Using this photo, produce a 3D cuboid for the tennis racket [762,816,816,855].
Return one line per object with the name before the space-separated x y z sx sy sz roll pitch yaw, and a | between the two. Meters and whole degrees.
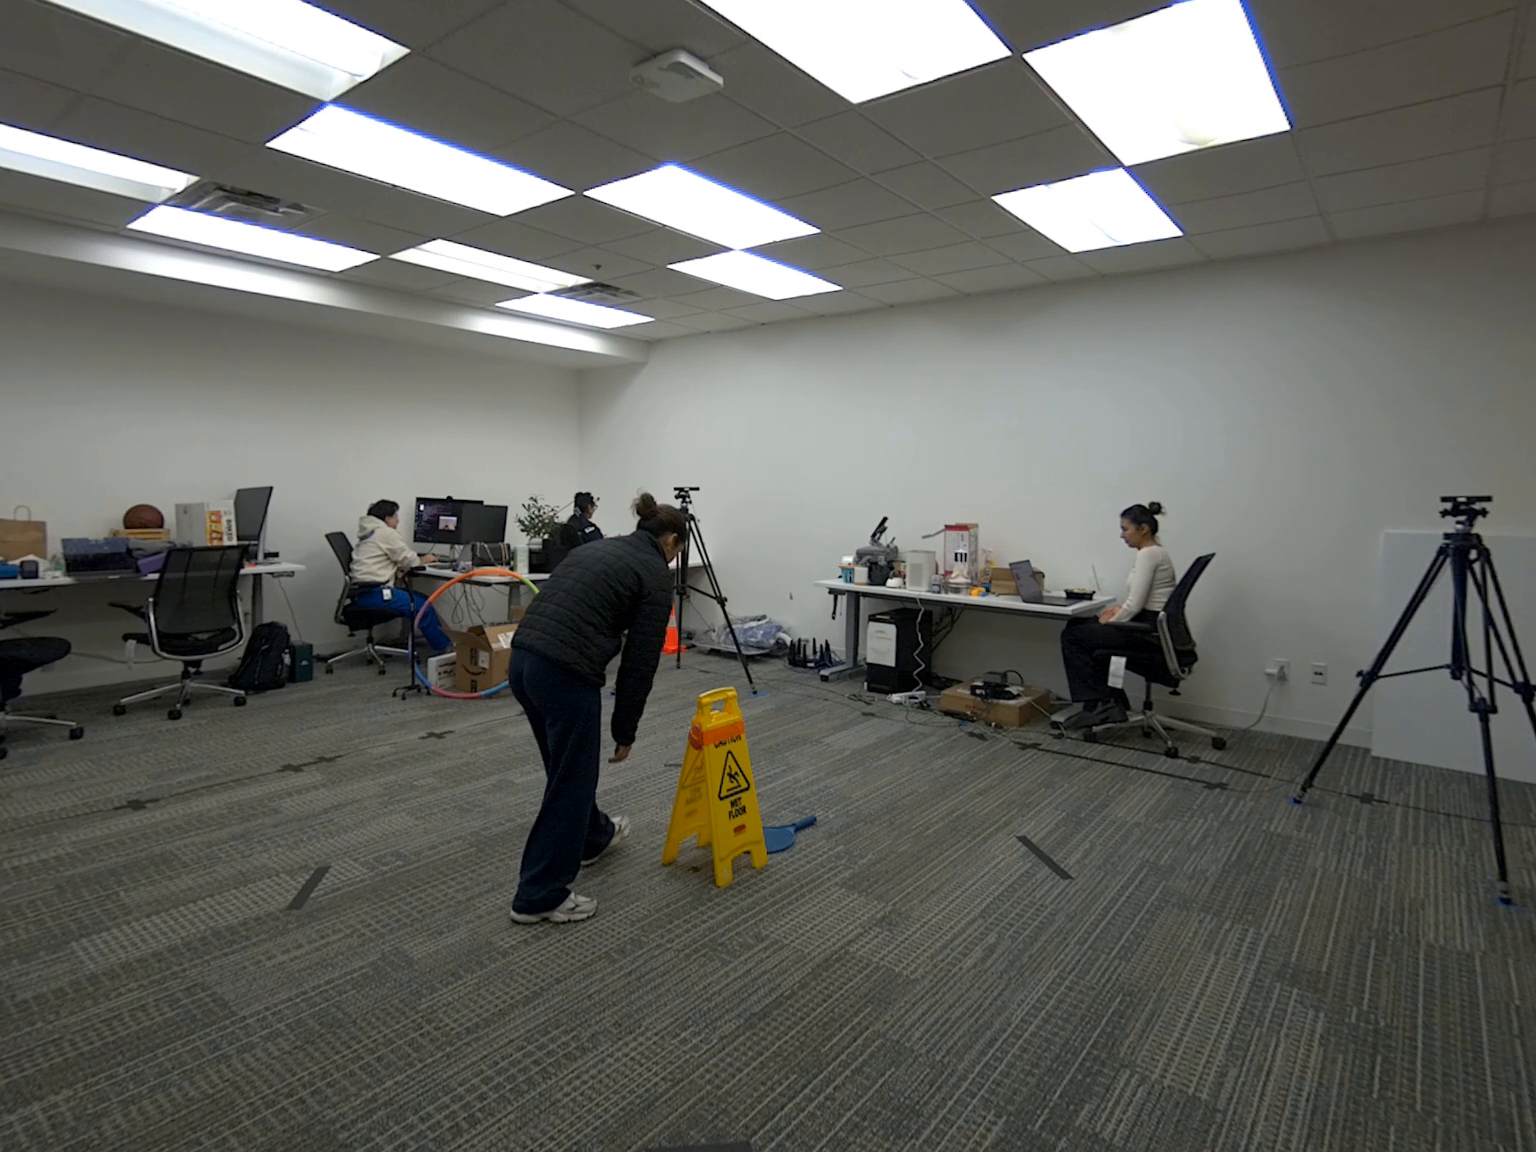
tennis racket | 0.054 1.024 3.417 0.221 0.031 0.420 7 9 44
